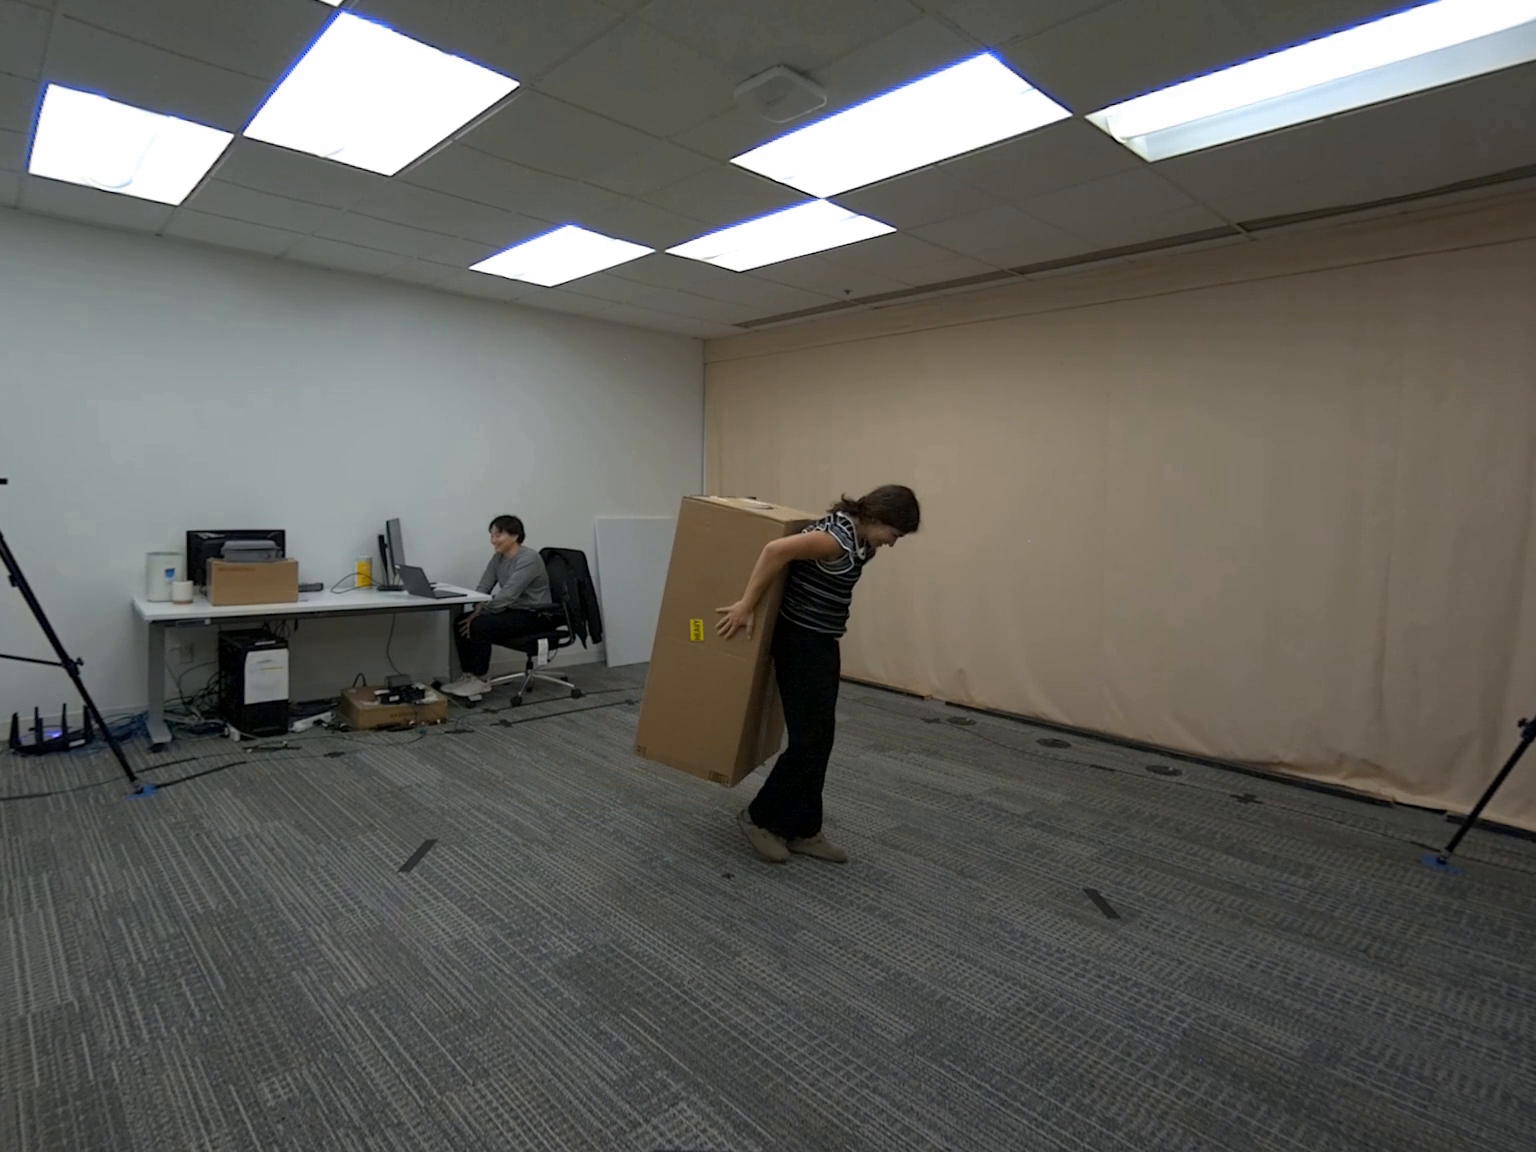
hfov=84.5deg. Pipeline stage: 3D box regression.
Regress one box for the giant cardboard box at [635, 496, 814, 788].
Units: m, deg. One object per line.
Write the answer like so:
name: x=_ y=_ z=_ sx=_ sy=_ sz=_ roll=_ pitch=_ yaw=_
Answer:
giant cardboard box: x=-0.143 y=0.226 z=3.372 sx=0.434 sy=1.021 sz=0.569 roll=15 pitch=8 yaw=20
